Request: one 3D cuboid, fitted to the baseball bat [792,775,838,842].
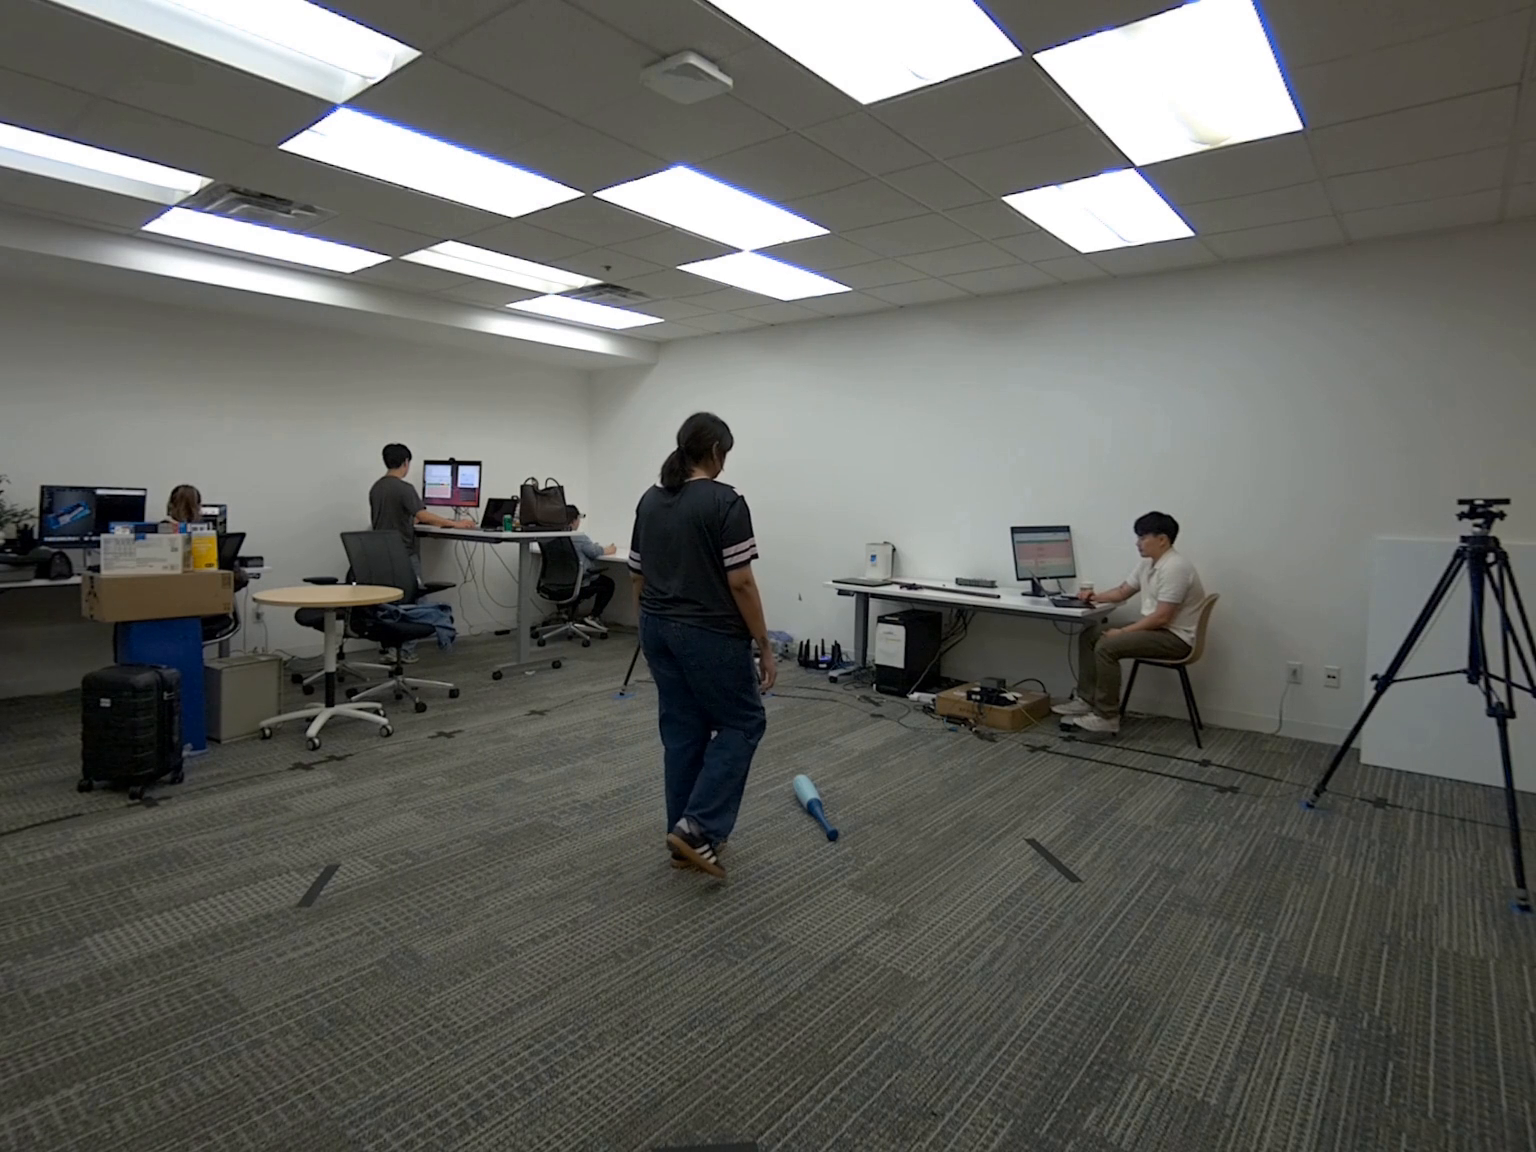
[{"bbox_3d":[0.197,0.990,3.647,0.088,0.088,0.553,0,10,-12],"label":"baseball bat"}]
